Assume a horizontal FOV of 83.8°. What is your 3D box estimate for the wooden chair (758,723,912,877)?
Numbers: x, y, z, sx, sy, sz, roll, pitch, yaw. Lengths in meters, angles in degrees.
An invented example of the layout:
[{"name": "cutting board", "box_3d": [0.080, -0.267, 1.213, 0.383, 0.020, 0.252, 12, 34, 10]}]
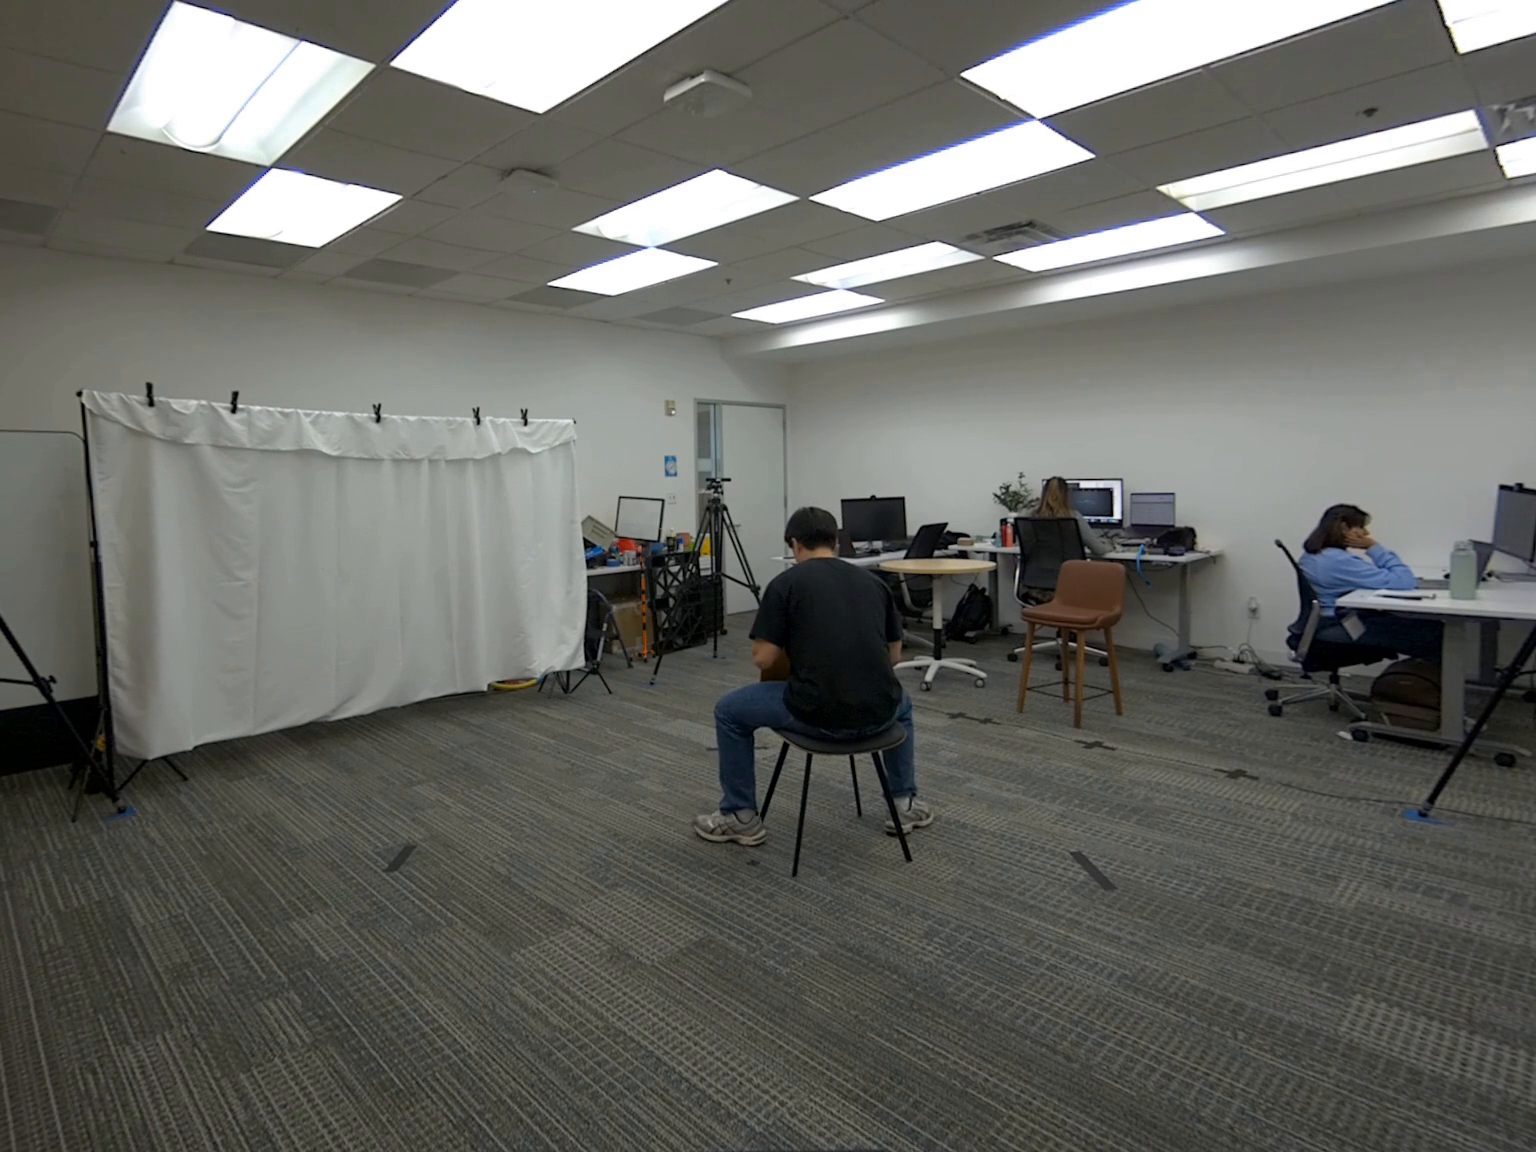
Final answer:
[{"name": "wooden chair", "box_3d": [0.233, 0.599, 3.219, 0.471, 0.877, 0.531, -2, 0, -16]}]
